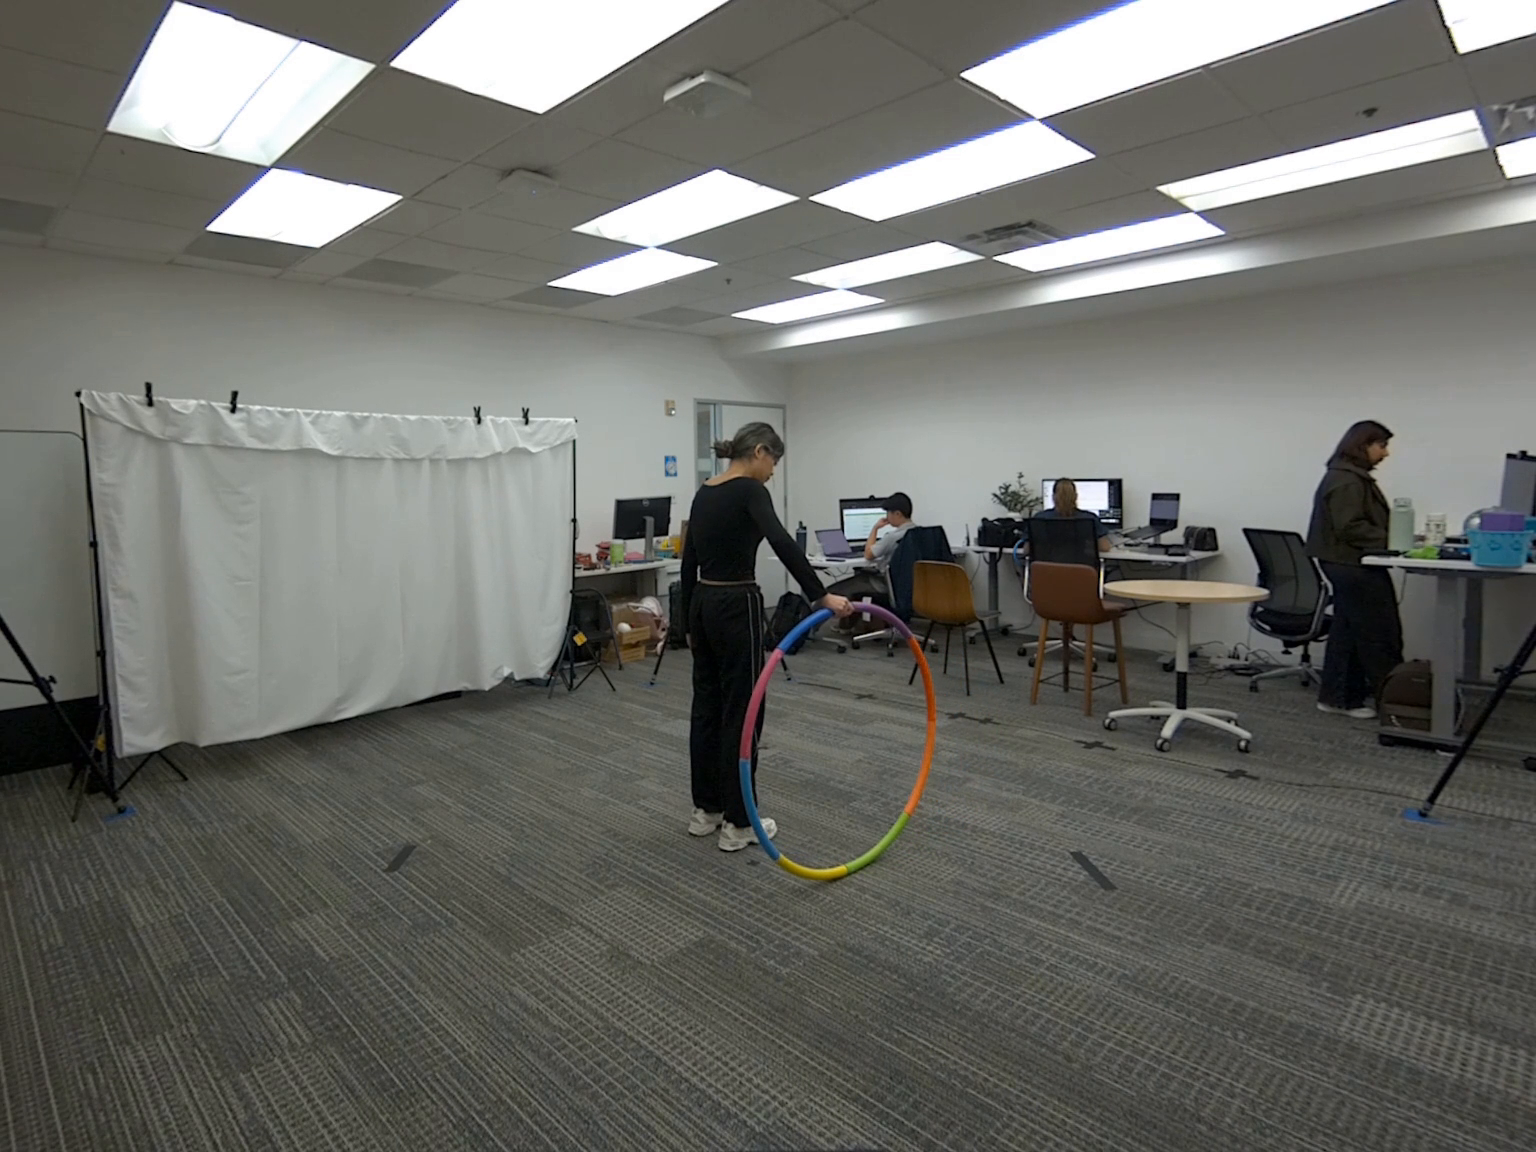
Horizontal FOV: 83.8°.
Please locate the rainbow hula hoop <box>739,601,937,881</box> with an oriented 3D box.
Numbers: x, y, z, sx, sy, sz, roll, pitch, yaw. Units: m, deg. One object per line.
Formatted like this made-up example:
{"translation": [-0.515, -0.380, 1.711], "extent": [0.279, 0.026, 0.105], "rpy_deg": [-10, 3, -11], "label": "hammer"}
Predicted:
{"translation": [0.278, 0.570, 3.011], "extent": [0.953, 0.977, 0.036], "rpy_deg": [-5, 3, -42], "label": "rainbow hula hoop"}
